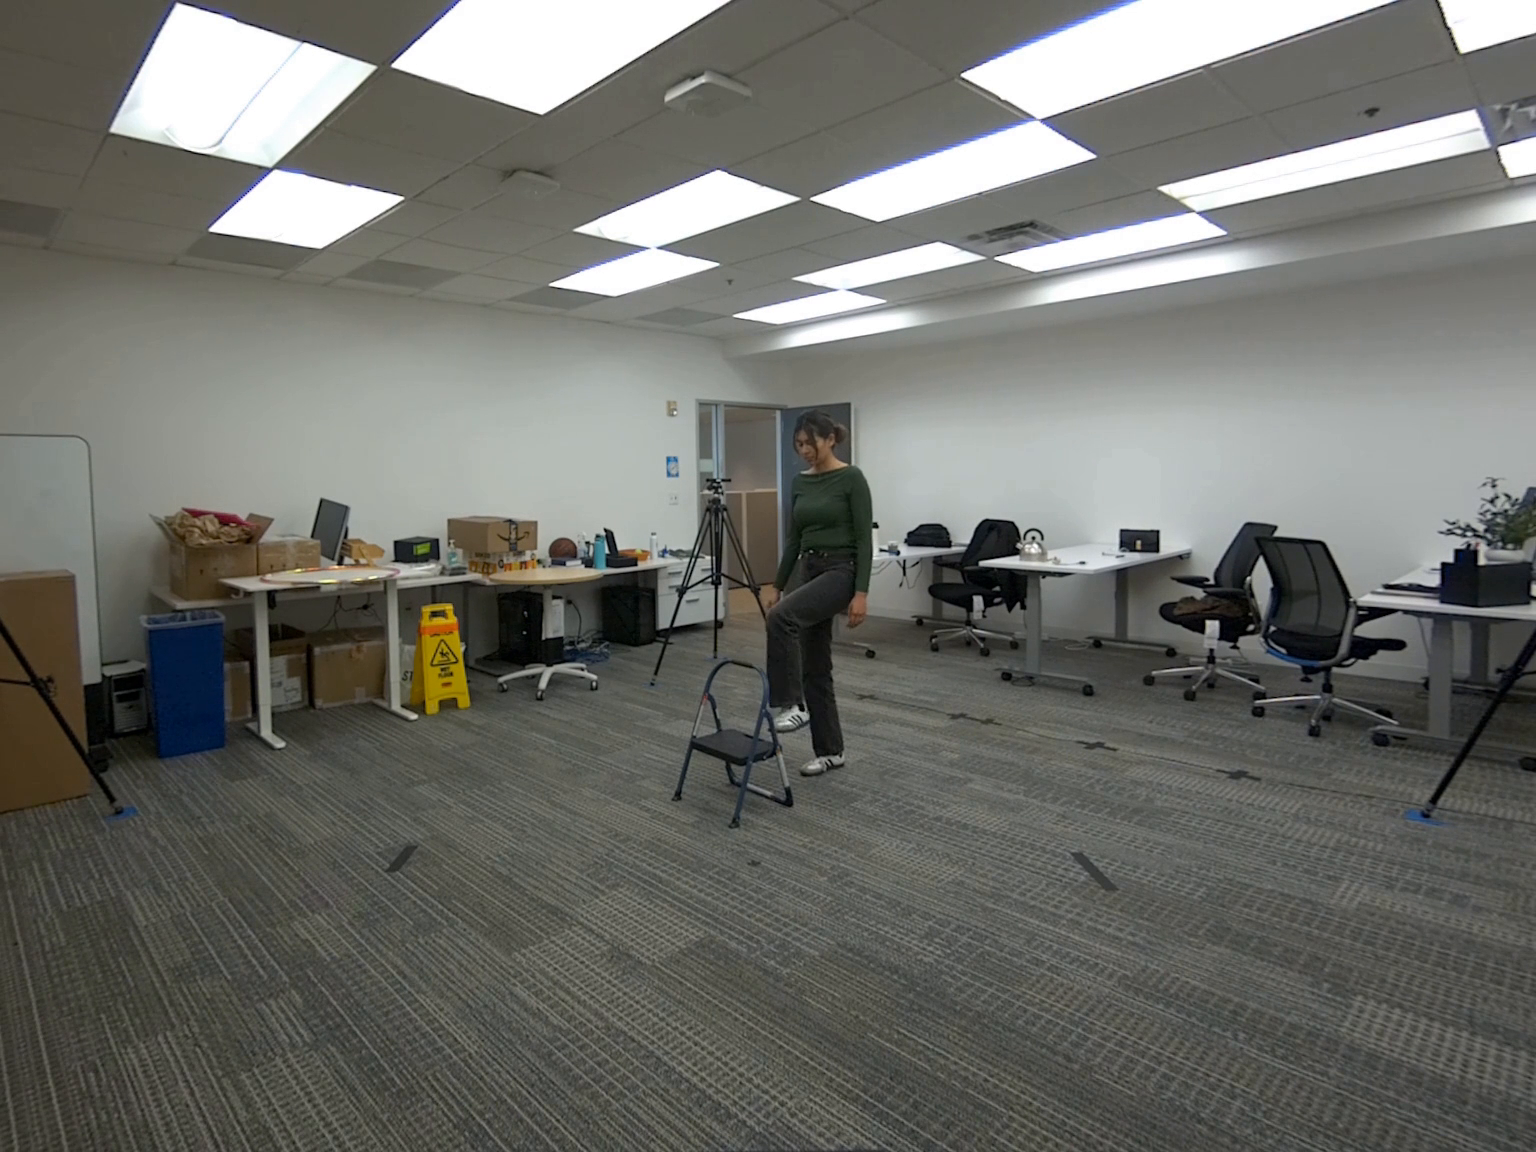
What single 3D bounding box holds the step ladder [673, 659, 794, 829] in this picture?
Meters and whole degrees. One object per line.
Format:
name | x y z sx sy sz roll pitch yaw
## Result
step ladder | -0.158 0.679 3.670 0.340 0.604 0.444 -4 5 -41
